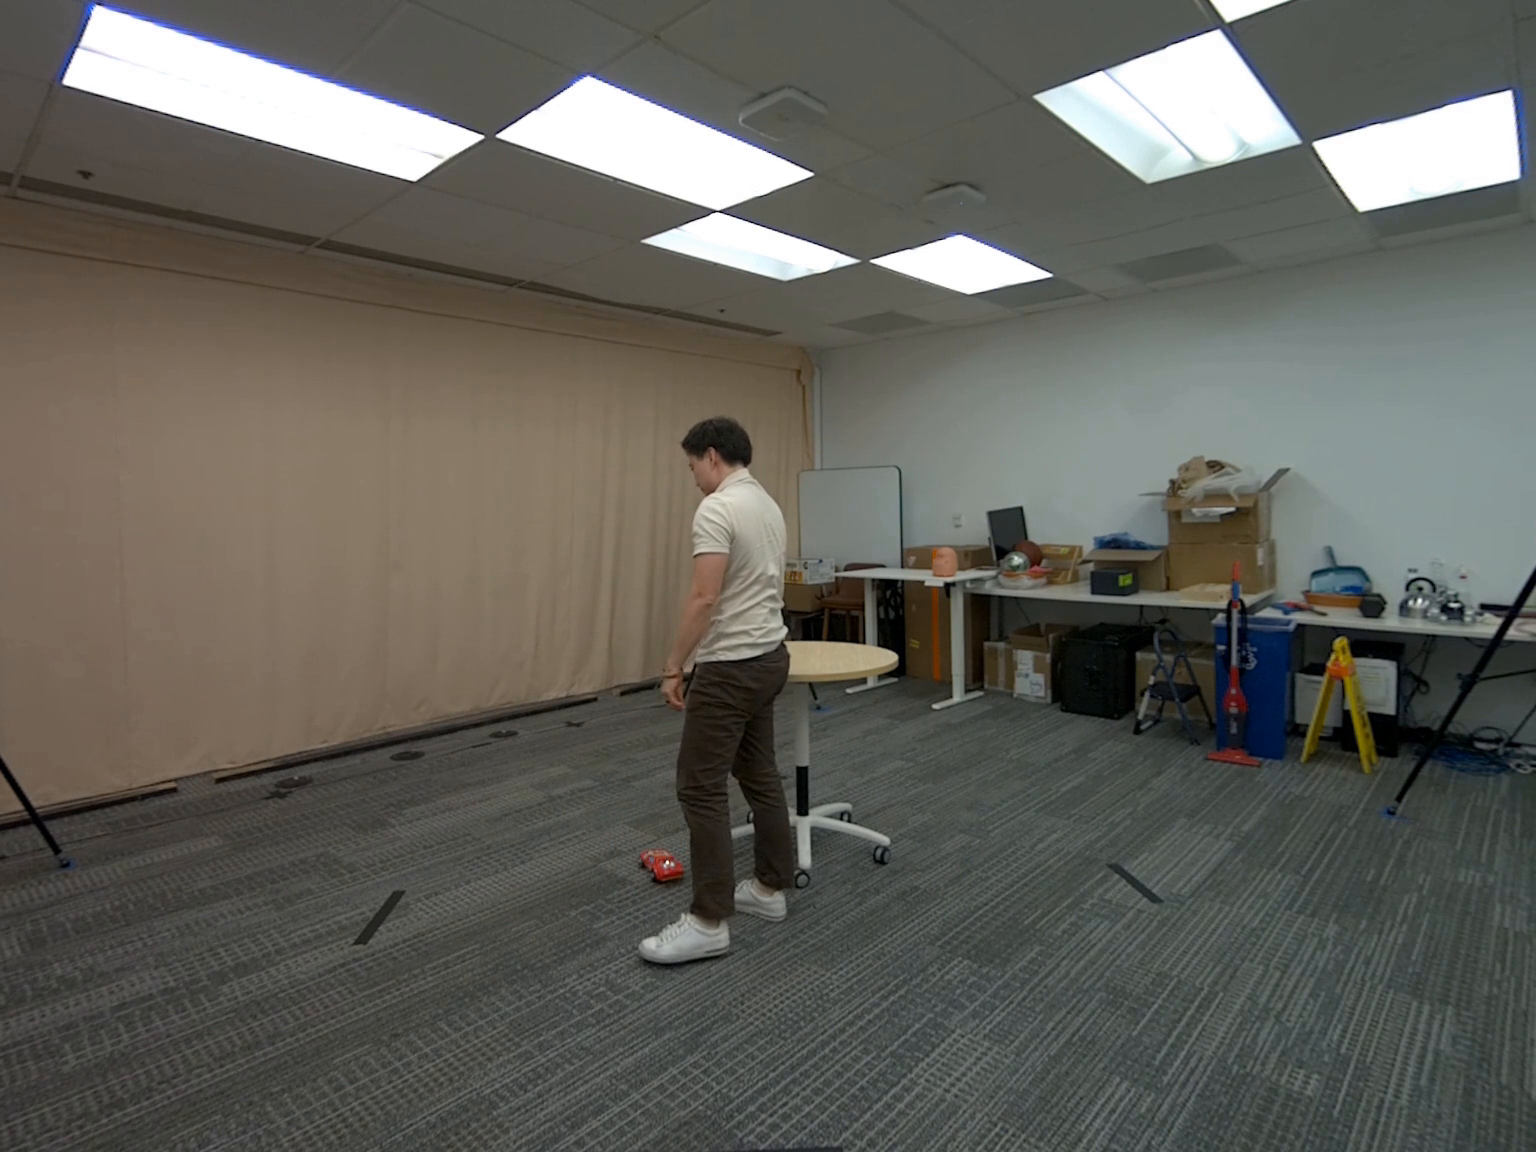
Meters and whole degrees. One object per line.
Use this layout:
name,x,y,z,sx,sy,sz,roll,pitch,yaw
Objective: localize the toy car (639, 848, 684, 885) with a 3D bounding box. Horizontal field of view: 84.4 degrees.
toy car,-0.404,1.100,3.193,0.127,0.083,0.259,-3,-6,-26
